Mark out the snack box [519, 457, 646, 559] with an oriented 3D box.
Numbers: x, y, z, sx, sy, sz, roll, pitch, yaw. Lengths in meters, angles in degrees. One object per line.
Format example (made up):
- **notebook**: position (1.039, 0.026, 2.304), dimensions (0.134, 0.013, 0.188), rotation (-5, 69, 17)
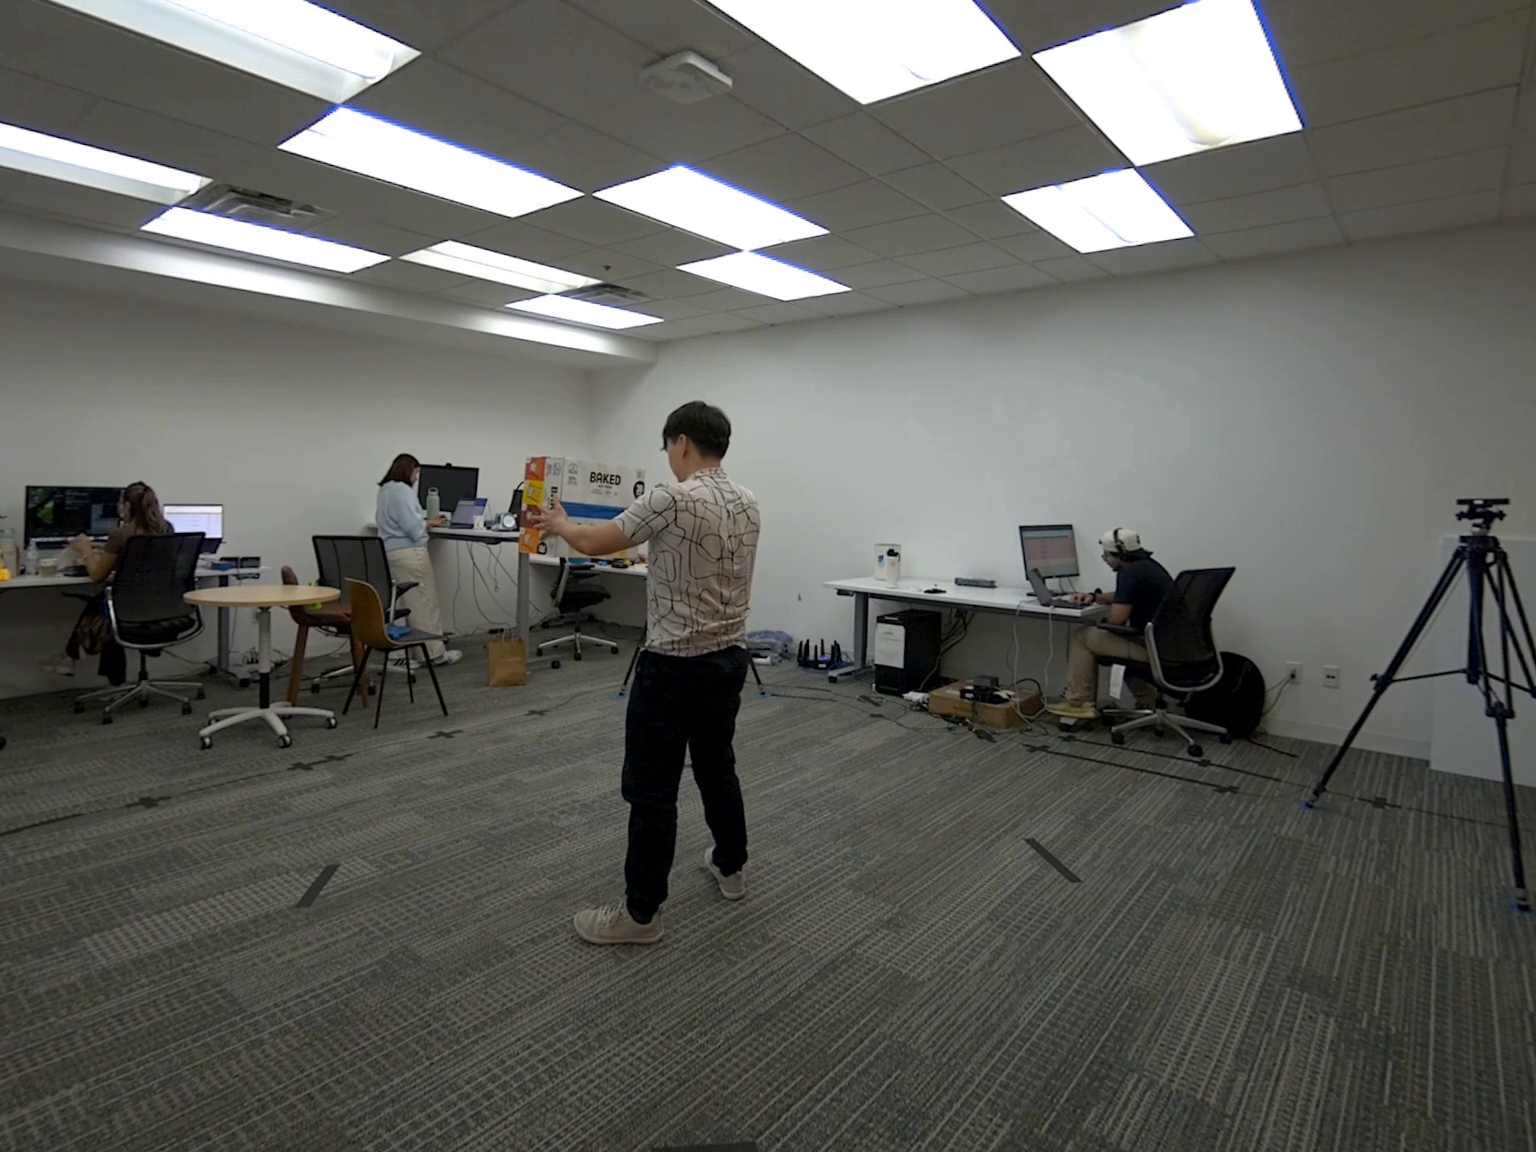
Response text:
- **snack box**: position (-0.683, -0.242, 3.091), dimensions (0.213, 0.340, 0.392), rotation (7, 3, 37)
